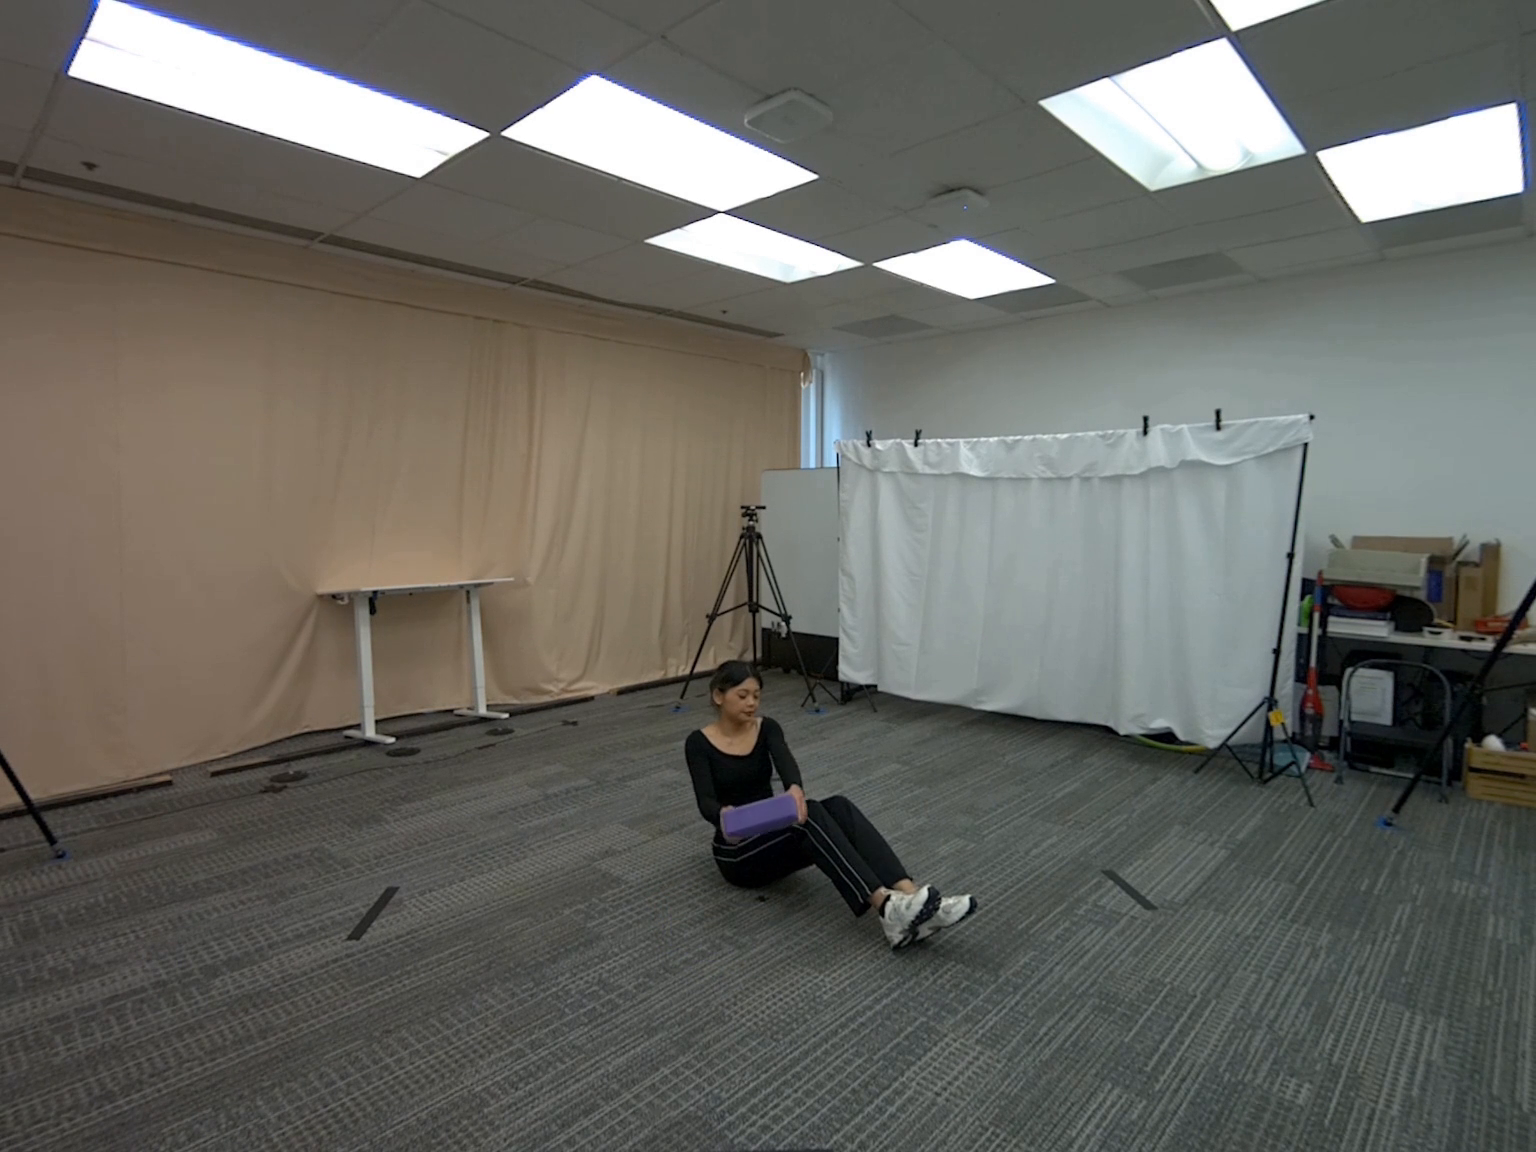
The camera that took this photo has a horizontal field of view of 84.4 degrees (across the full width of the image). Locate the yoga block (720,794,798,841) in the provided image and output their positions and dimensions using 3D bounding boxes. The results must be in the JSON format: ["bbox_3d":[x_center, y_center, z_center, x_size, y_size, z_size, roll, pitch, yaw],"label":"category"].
[{"bbox_3d":[-0.026,0.779,2.699,0.230,0.078,0.146,-13,-26,1],"label":"yoga block"}]
